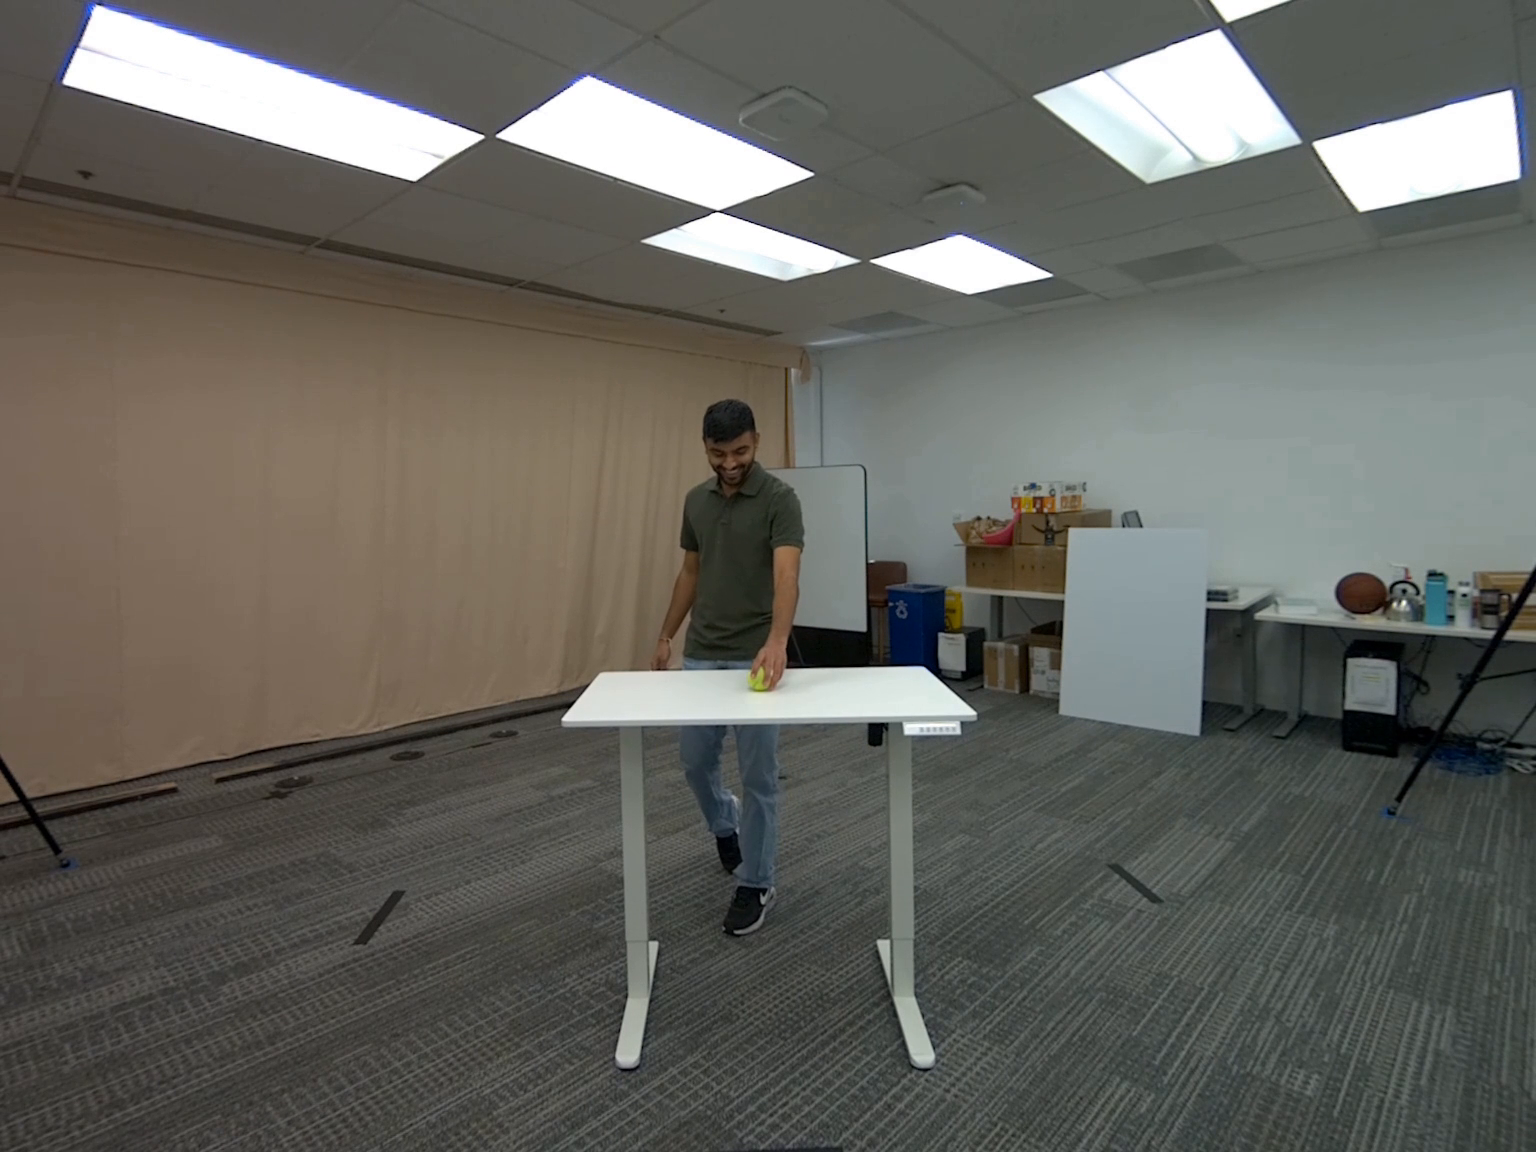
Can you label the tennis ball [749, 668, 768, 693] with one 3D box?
[{"bbox_3d":[0.007,0.275,2.332,0.066,0.066,0.067,-1,4,-2],"label":"tennis ball"}]
